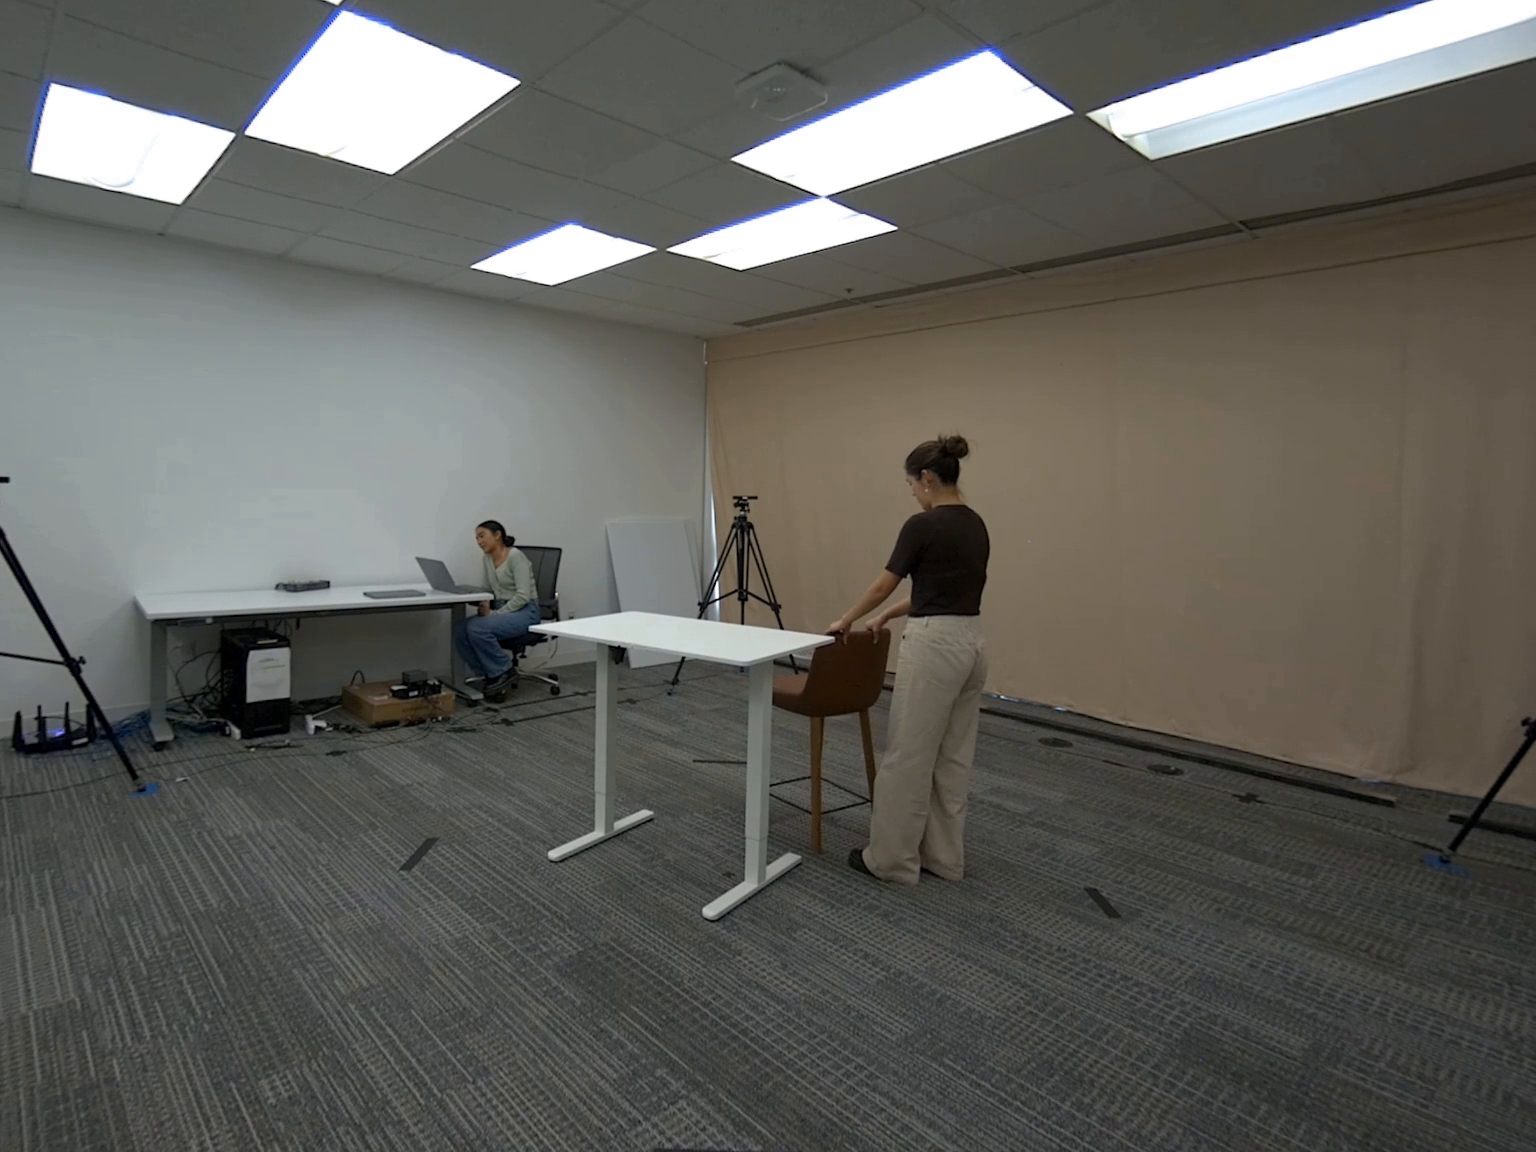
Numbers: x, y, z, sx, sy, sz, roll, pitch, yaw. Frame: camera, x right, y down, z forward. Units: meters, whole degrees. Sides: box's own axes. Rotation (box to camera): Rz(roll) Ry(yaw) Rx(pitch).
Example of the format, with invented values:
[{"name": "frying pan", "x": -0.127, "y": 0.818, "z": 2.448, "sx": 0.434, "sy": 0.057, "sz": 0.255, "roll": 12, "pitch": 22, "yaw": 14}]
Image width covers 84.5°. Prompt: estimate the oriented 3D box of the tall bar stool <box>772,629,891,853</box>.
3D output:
[{"name": "tall bar stool", "x": 0.211, "y": 0.632, "z": 3.560, "sx": 0.446, "sy": 0.886, "sz": 0.480, "roll": -2, "pitch": 7, "yaw": -37}]
